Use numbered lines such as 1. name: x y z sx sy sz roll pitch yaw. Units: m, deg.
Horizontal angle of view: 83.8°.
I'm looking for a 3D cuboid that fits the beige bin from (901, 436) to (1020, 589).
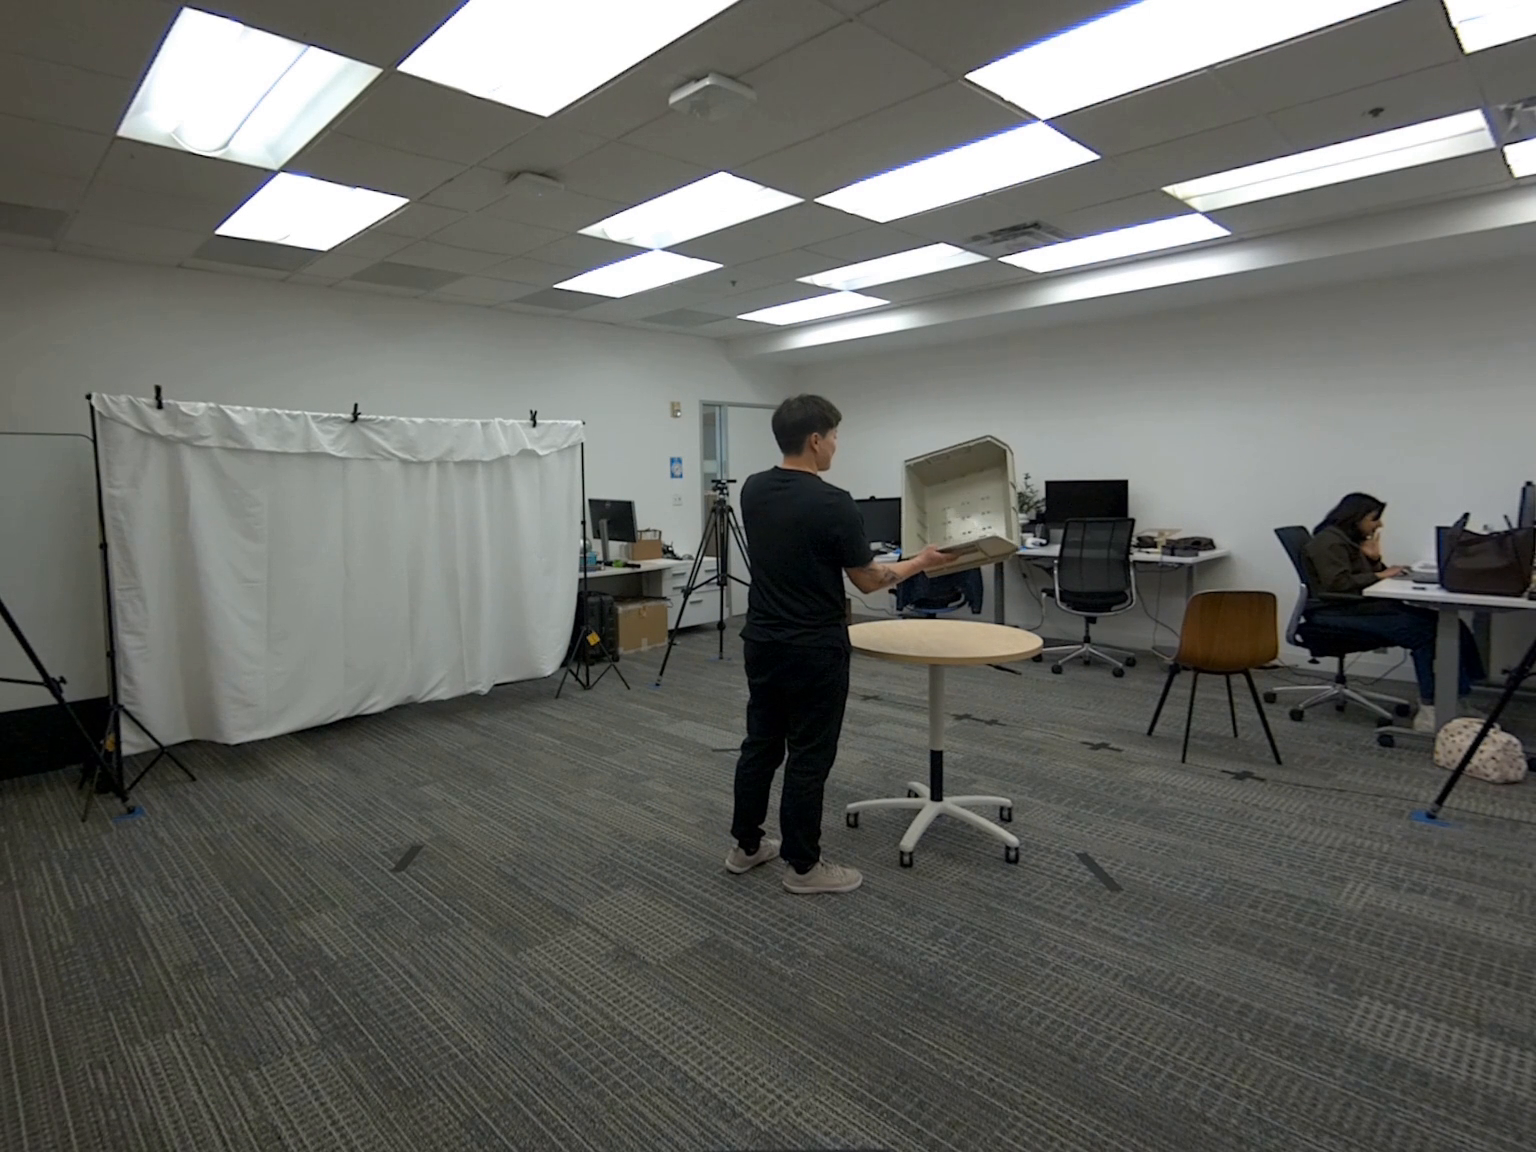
1. beige bin: 0.696 -0.249 3.071 0.384 0.431 0.182 -16 -35 34
